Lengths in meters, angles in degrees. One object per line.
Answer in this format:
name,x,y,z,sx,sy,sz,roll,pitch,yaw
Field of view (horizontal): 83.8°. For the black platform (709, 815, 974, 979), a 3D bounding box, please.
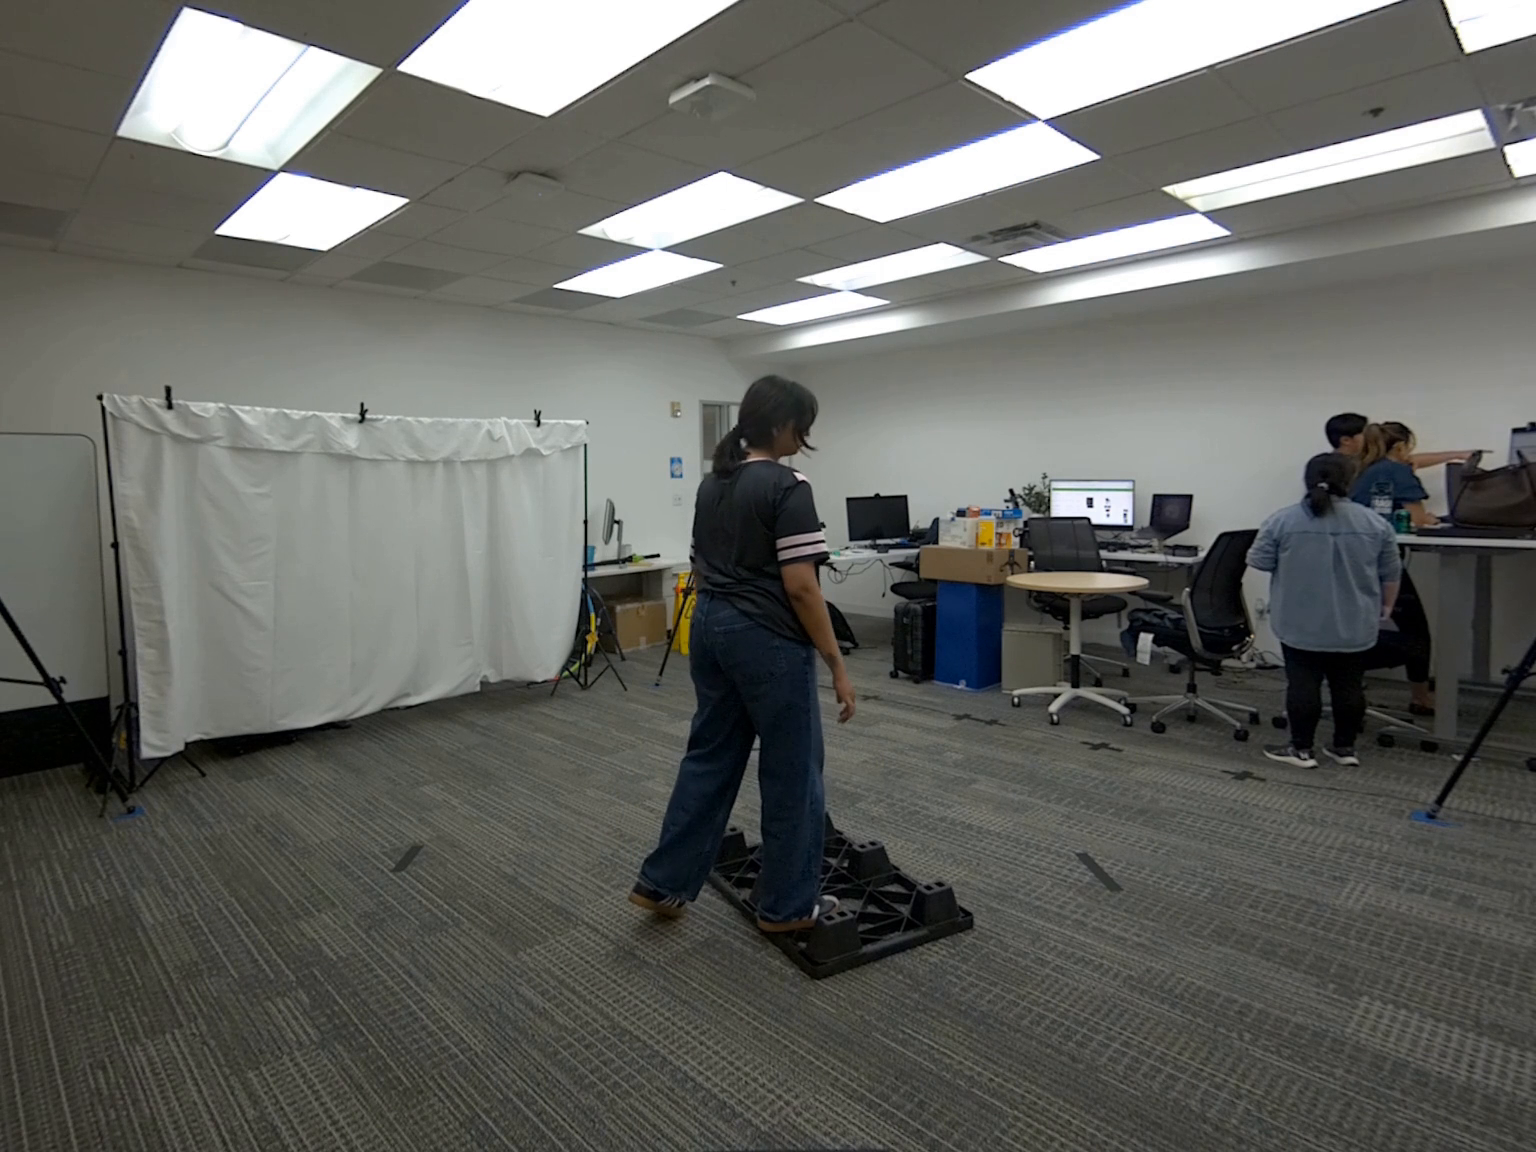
black platform,0.184,1.007,2.862,0.591,0.143,0.828,-4,7,-29
